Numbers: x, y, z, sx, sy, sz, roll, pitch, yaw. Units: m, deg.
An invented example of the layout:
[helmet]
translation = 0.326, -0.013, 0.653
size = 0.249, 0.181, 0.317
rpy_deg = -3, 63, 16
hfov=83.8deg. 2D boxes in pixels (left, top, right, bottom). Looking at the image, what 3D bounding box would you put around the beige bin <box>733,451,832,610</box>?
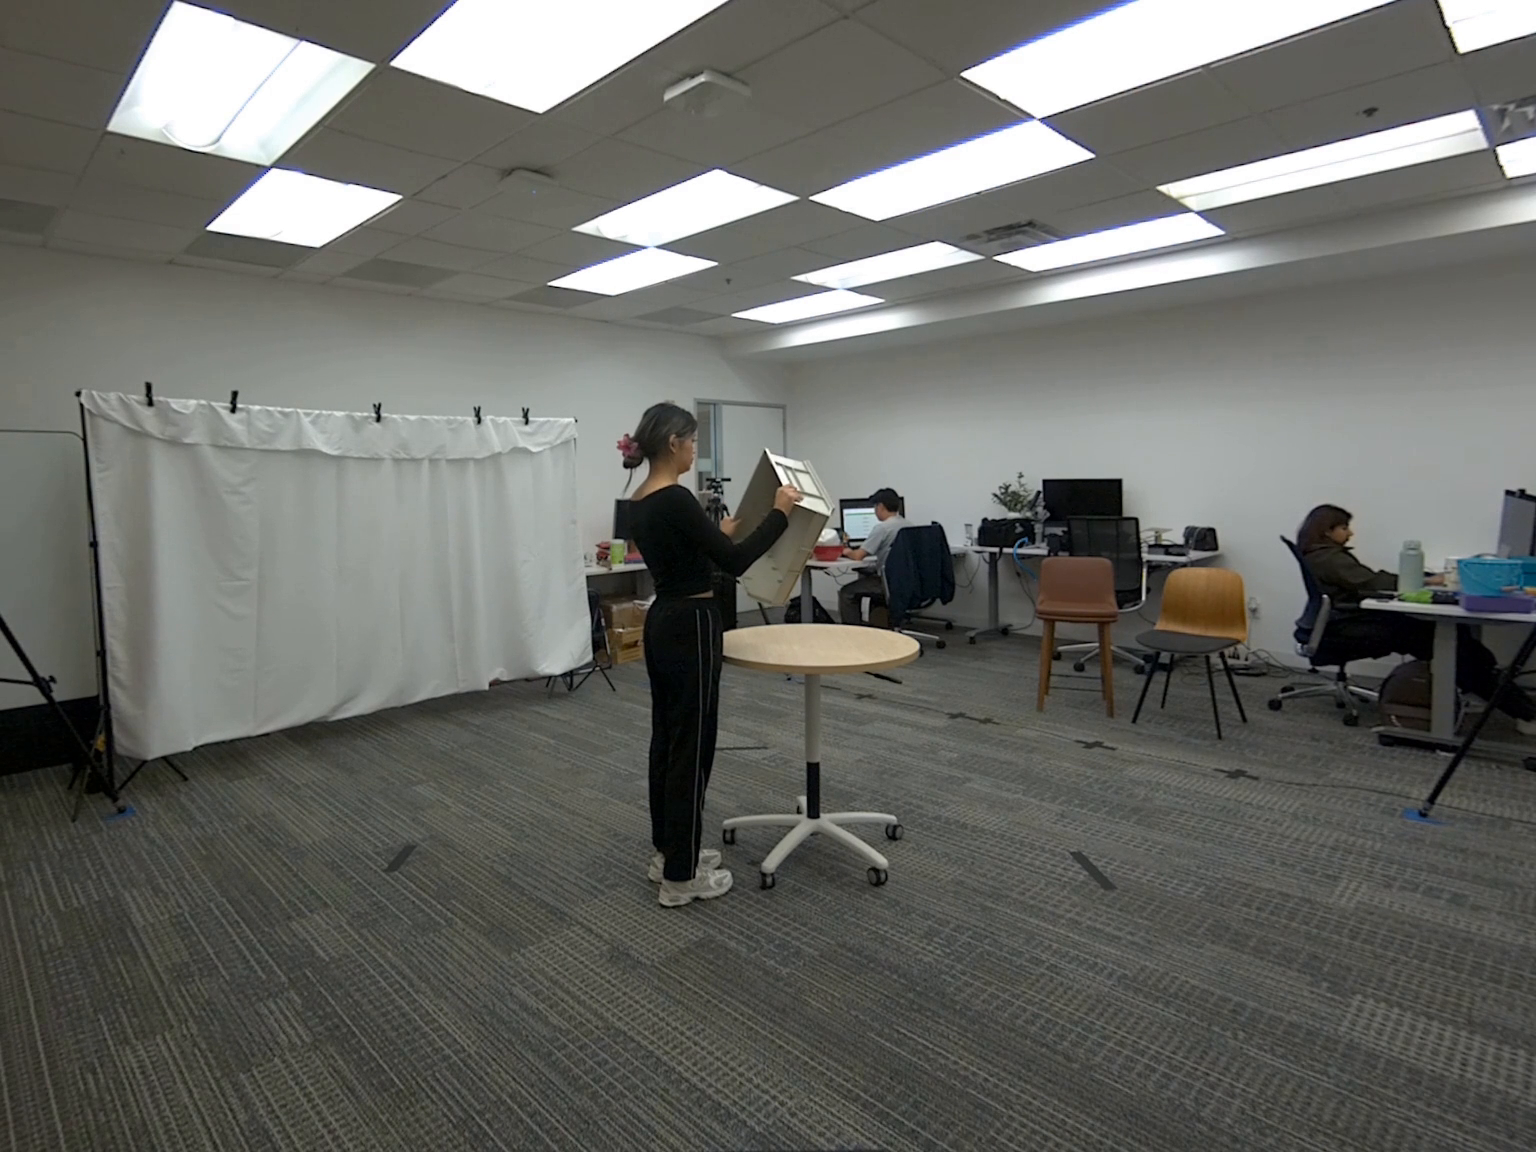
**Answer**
[beige bin]
translation = 0.032, -0.175, 3.073
size = 0.184, 0.418, 0.391
rpy_deg = 10, 34, -25
